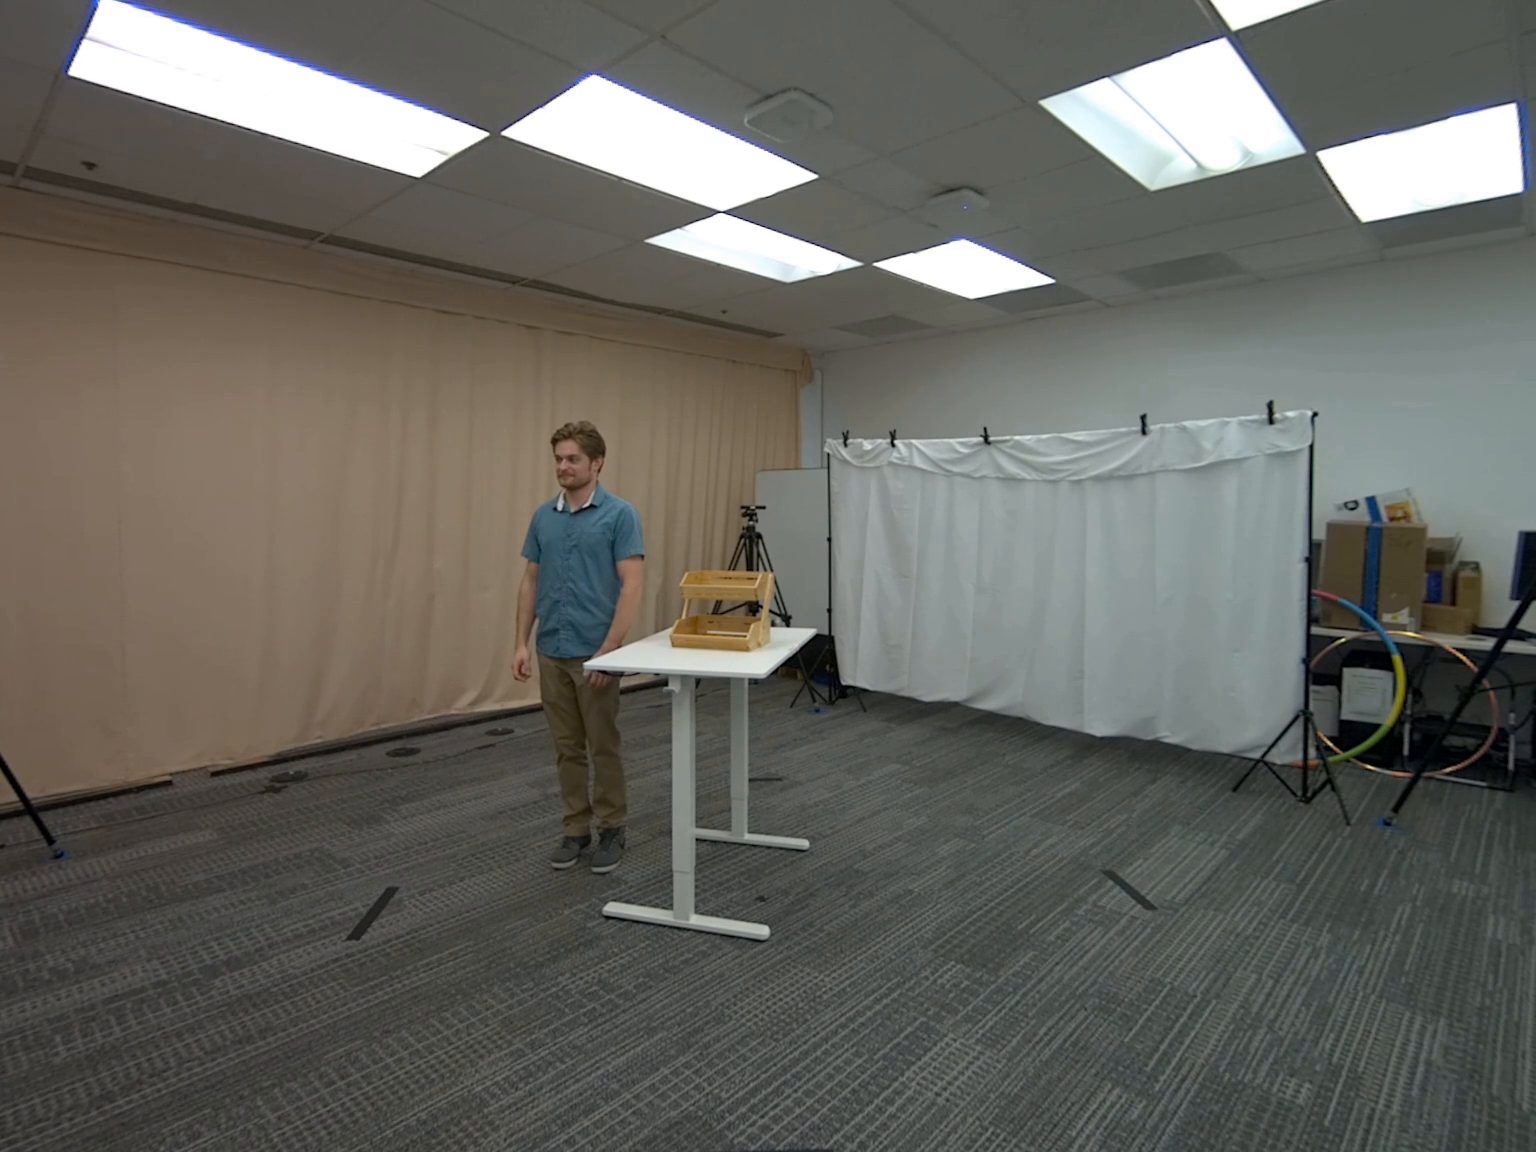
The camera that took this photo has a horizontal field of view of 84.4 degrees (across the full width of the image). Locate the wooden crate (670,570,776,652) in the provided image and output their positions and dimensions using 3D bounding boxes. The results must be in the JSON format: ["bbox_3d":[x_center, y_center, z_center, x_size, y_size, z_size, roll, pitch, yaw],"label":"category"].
[{"bbox_3d":[-0.164,0.118,3.103,0.331,0.273,0.296,1,3,19],"label":"wooden crate"}]
